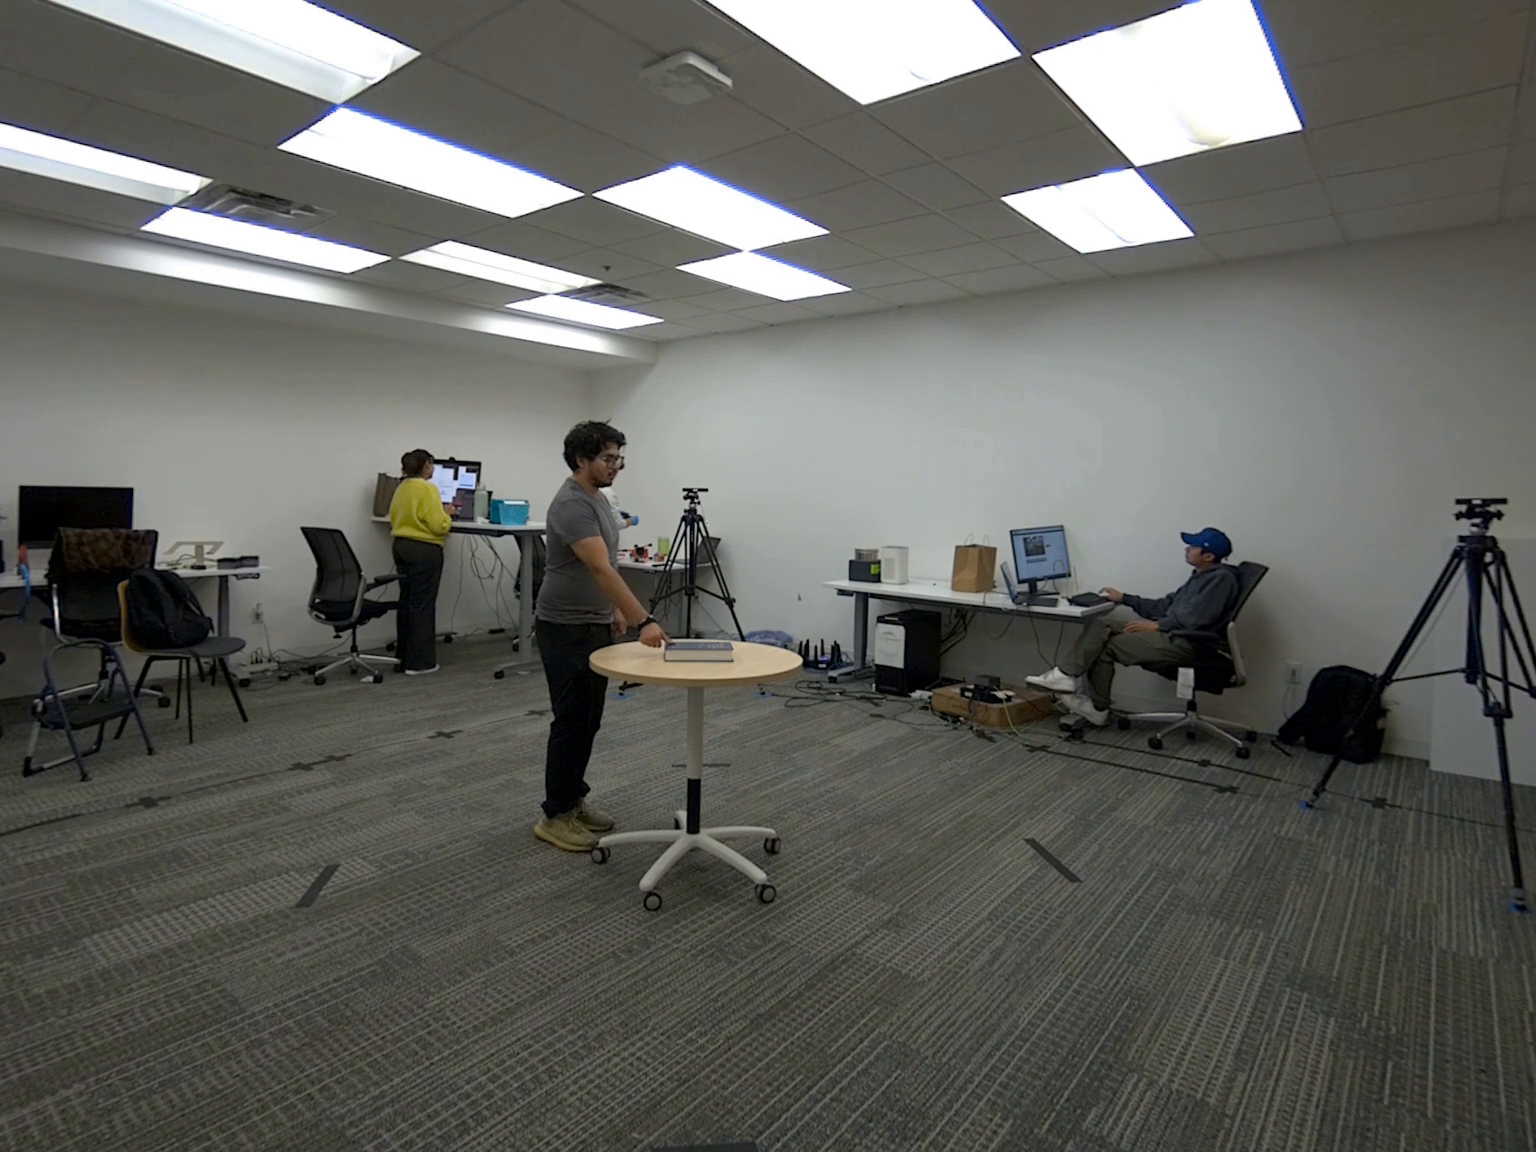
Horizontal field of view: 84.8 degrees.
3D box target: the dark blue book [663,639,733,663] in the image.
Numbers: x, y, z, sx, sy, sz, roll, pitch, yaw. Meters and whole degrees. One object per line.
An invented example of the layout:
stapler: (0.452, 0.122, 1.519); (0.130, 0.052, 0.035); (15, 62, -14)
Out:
dark blue book: (-0.256, 0.271, 3.067); (0.244, 0.045, 0.165); (0, 6, -5)
